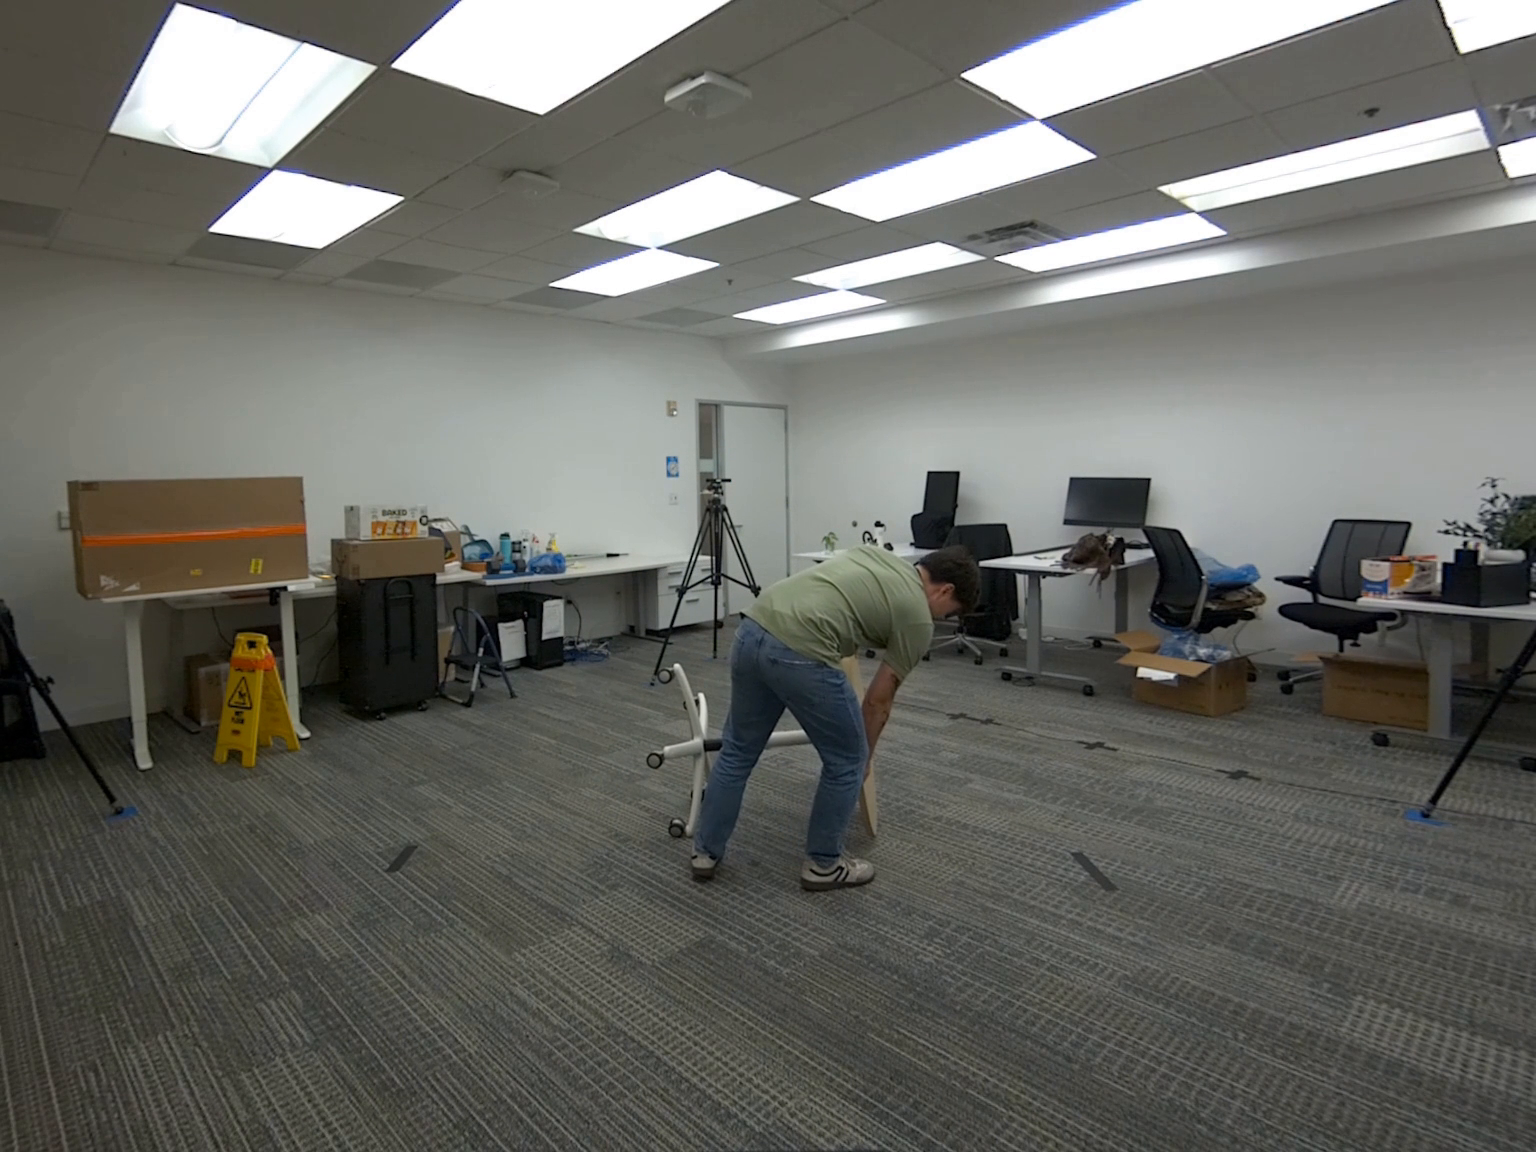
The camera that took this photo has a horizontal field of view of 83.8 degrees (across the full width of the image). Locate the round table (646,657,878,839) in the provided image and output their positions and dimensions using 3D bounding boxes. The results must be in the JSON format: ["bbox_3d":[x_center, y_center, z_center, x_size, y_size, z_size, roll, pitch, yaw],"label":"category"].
[{"bbox_3d":[-0.011,0.666,3.440,0.802,0.762,0.759,-7,3,11],"label":"round table"}]
